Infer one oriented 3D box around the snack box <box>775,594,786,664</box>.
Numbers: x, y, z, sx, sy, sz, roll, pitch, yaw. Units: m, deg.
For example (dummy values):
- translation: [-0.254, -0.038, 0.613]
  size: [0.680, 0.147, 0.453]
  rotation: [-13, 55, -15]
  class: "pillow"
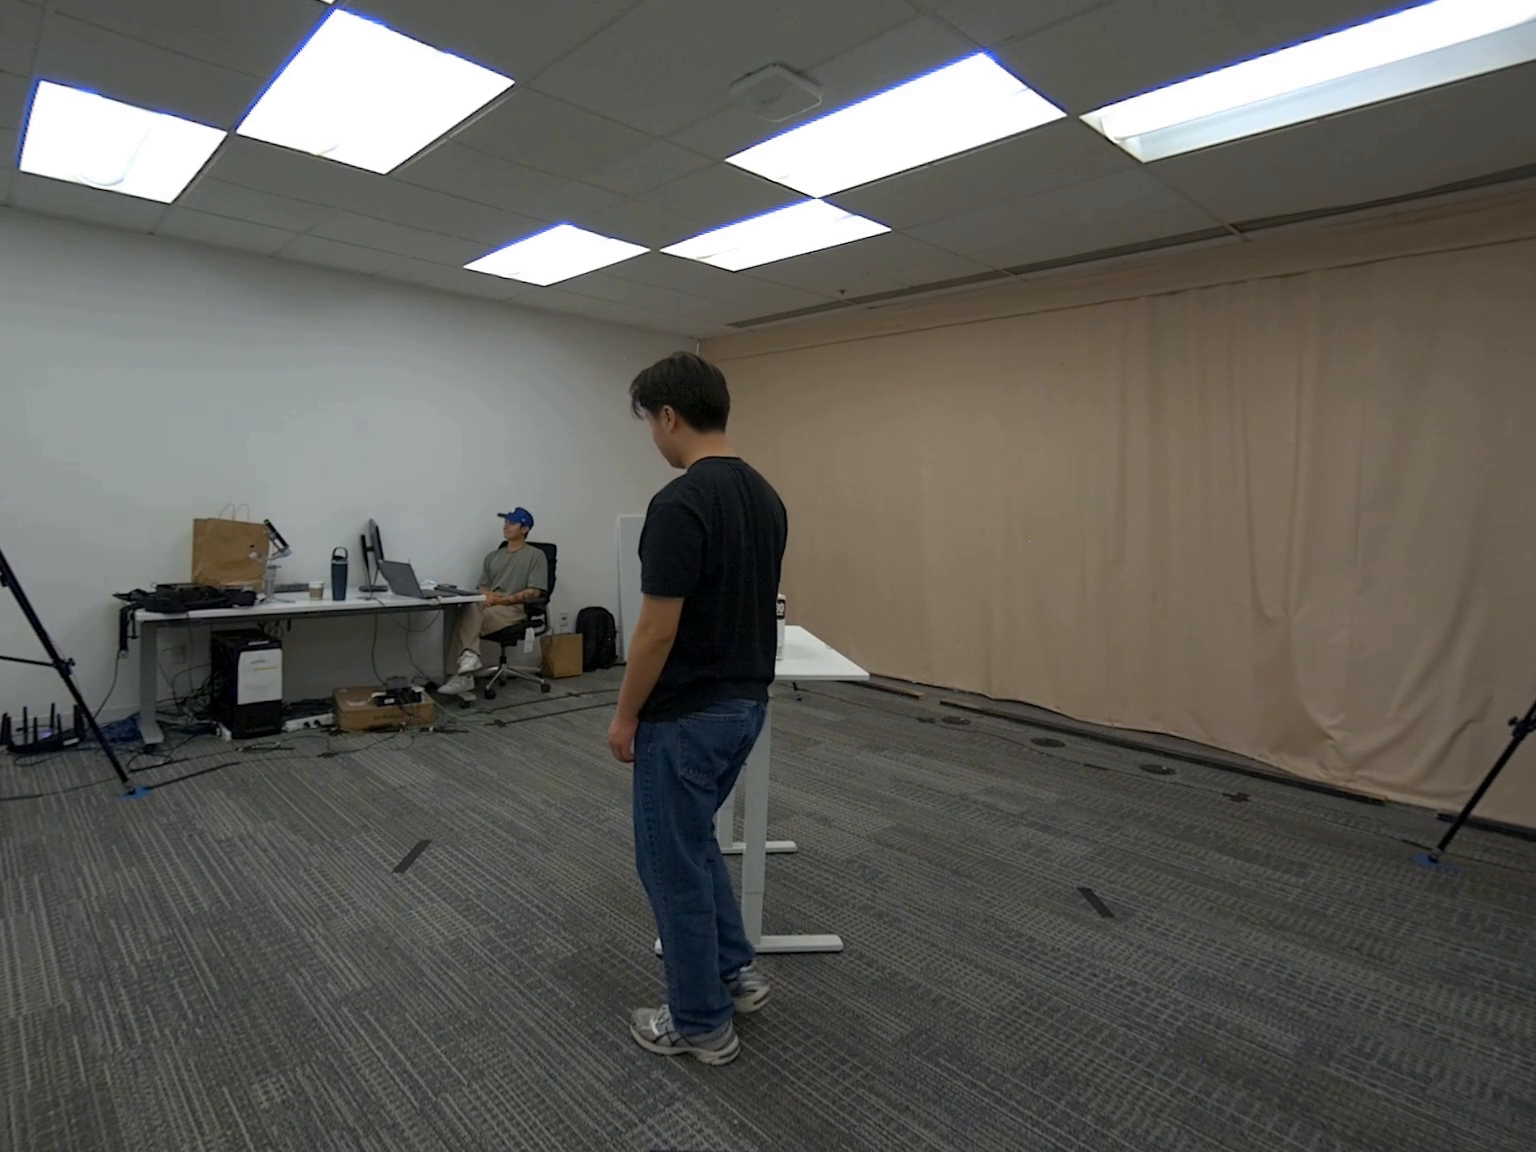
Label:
- translation: [-0.181, 0.153, 2.759]
  size: [0.401, 0.205, 0.345]
  rotation: [1, 4, -13]
  class: "snack box"
